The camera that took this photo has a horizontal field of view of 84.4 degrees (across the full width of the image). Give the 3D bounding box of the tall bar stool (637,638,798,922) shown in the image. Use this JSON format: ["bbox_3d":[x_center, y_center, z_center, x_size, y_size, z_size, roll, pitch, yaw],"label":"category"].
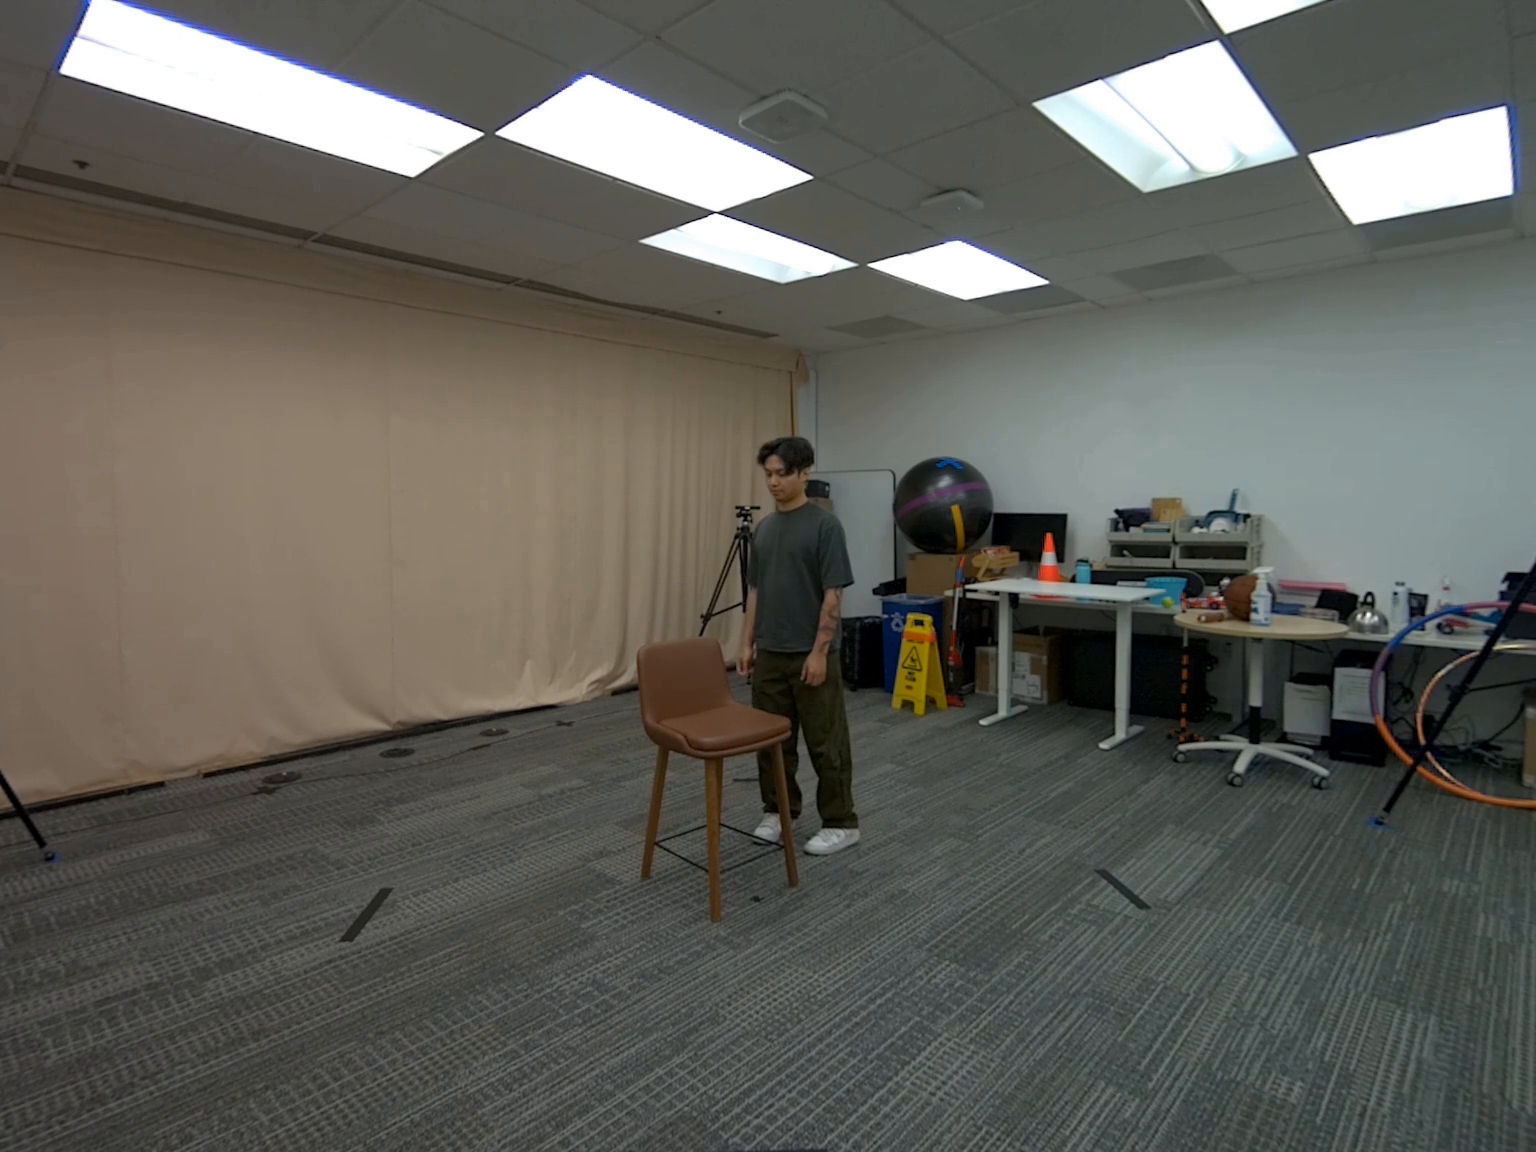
[{"bbox_3d":[-0.196,0.704,3.092,0.442,0.889,0.483,-3,3,-42],"label":"tall bar stool"}]
